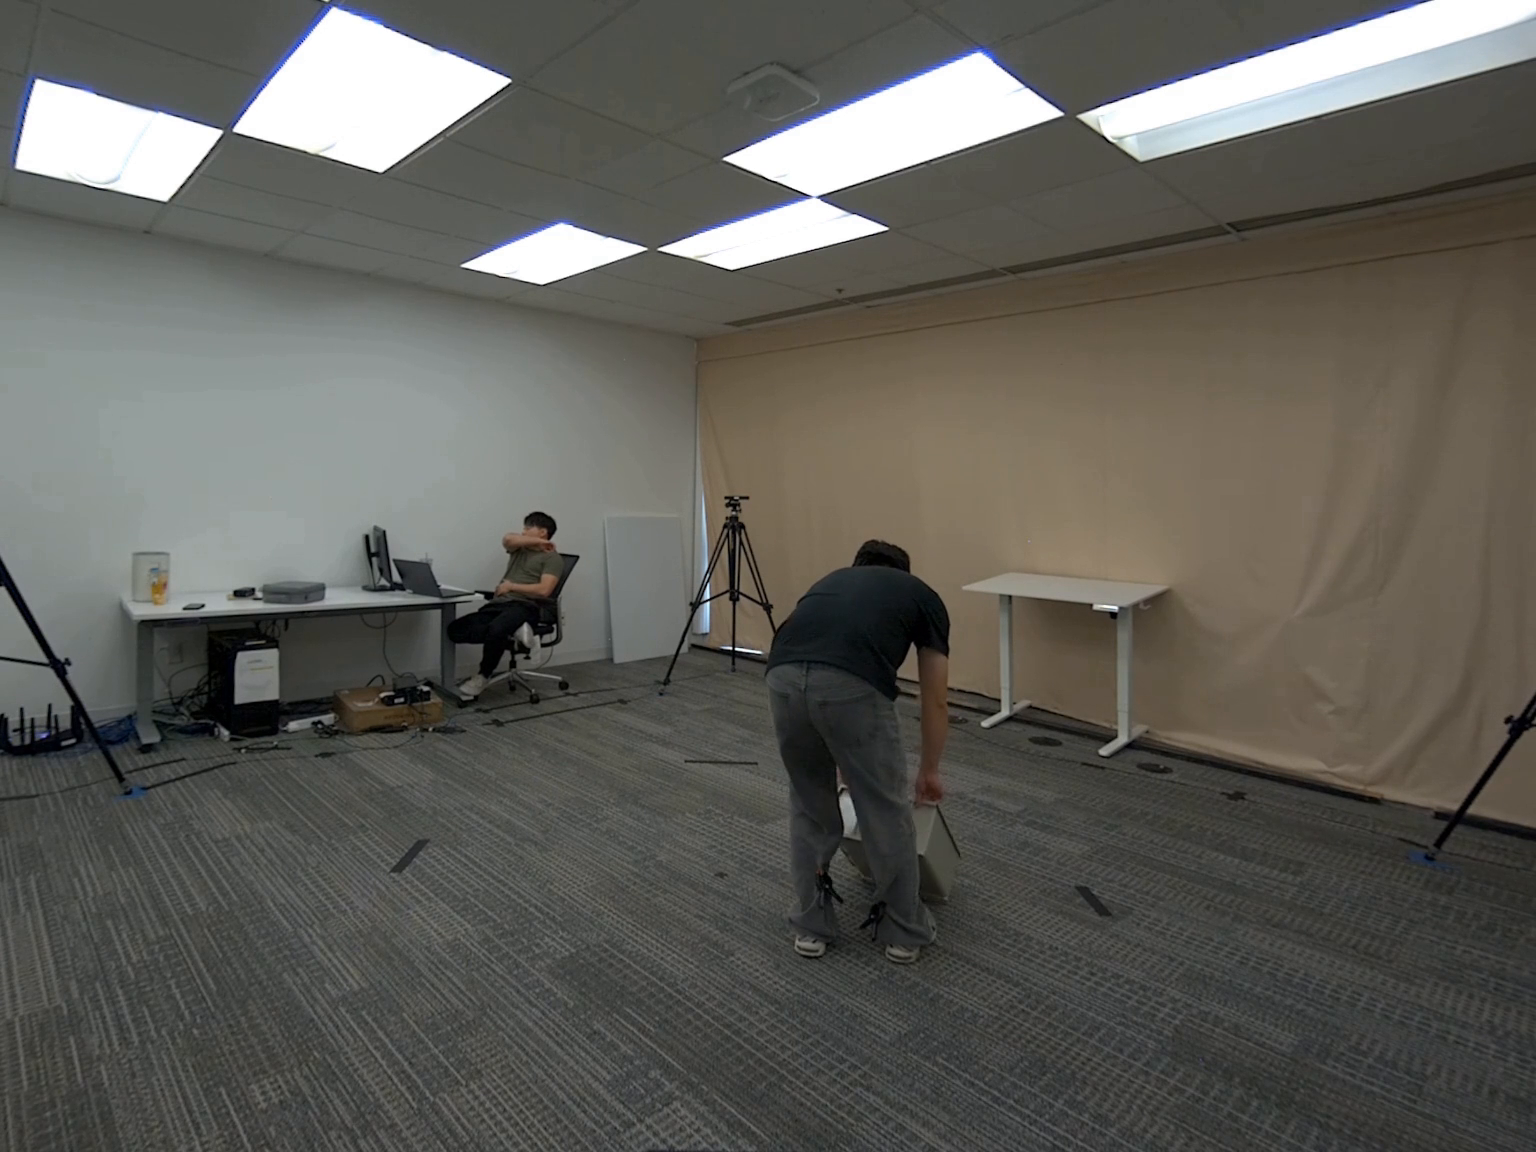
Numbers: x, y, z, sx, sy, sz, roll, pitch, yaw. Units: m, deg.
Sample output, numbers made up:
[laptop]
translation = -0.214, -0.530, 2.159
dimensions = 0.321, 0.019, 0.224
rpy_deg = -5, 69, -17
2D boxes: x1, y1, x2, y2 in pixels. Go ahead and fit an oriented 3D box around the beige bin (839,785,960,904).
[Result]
[beige bin]
translation = 0.422, 0.928, 2.923
dimensions = 0.386, 0.190, 0.409
rpy_deg = 5, -37, 31
